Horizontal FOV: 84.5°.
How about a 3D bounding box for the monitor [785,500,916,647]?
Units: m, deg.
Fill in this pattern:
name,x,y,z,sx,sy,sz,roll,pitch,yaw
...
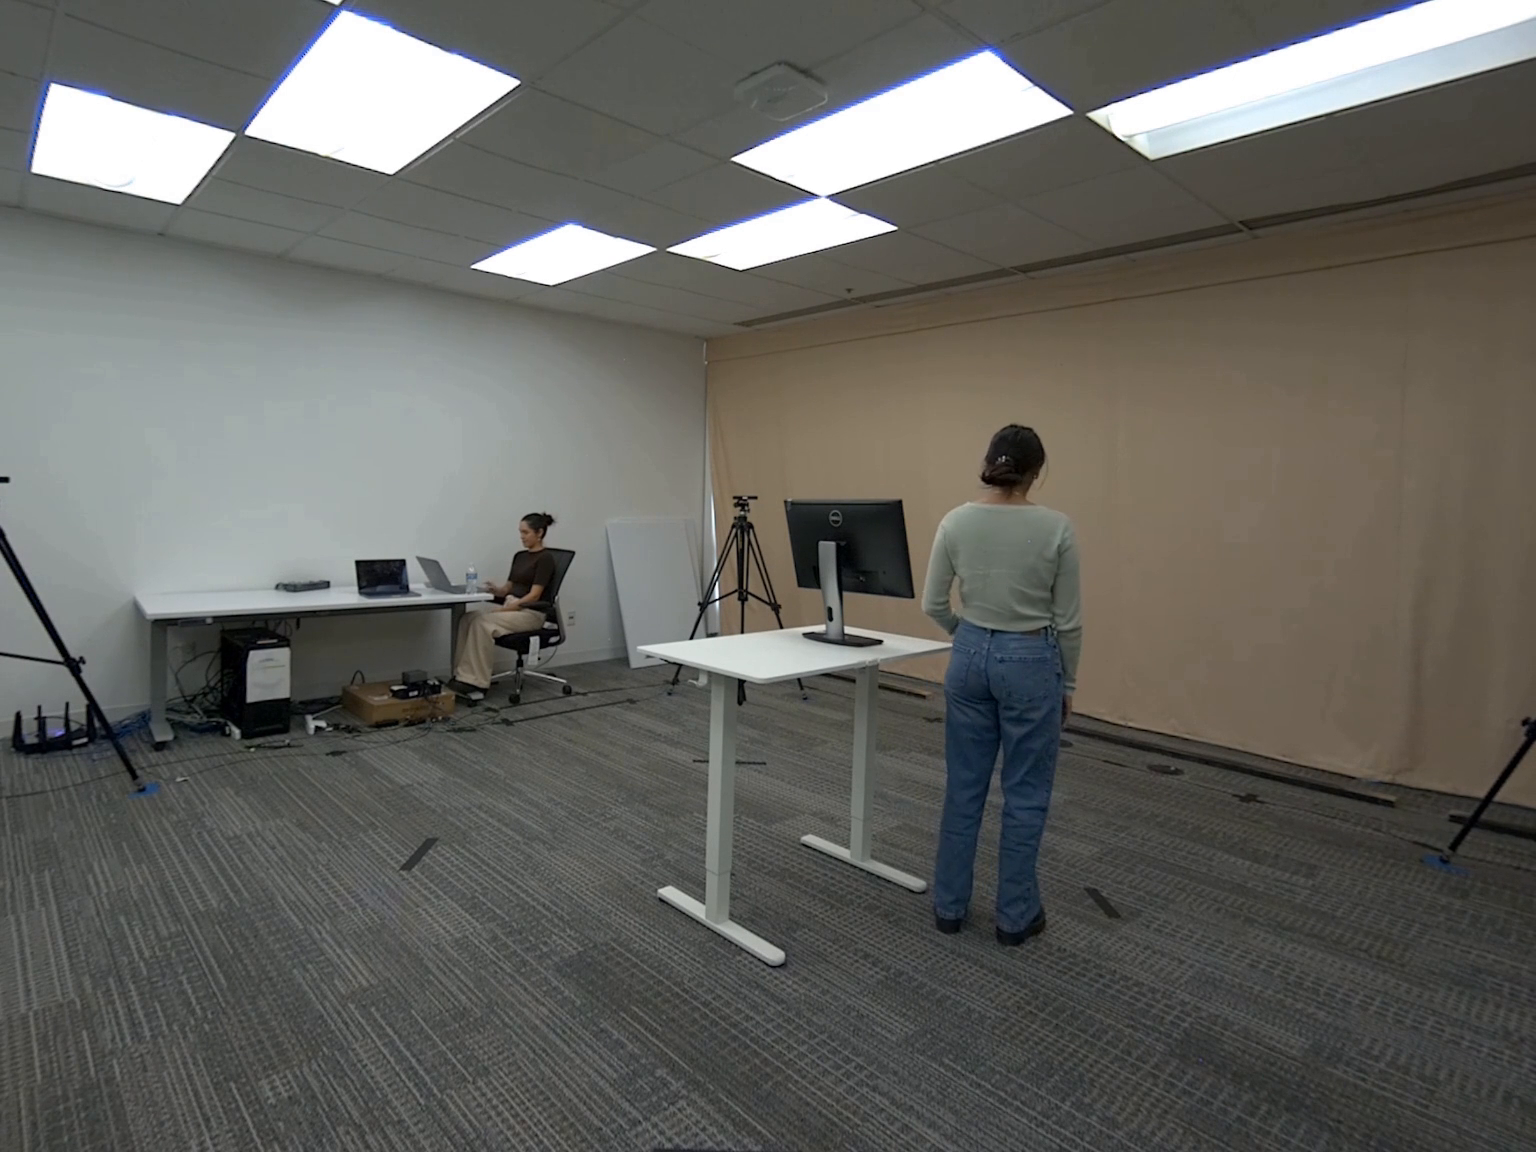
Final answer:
name,x,y,z,sx,sy,sz,roll,pitch,yaw
monitor,0.257,-0.014,3.044,0.553,0.521,0.183,4,6,44
